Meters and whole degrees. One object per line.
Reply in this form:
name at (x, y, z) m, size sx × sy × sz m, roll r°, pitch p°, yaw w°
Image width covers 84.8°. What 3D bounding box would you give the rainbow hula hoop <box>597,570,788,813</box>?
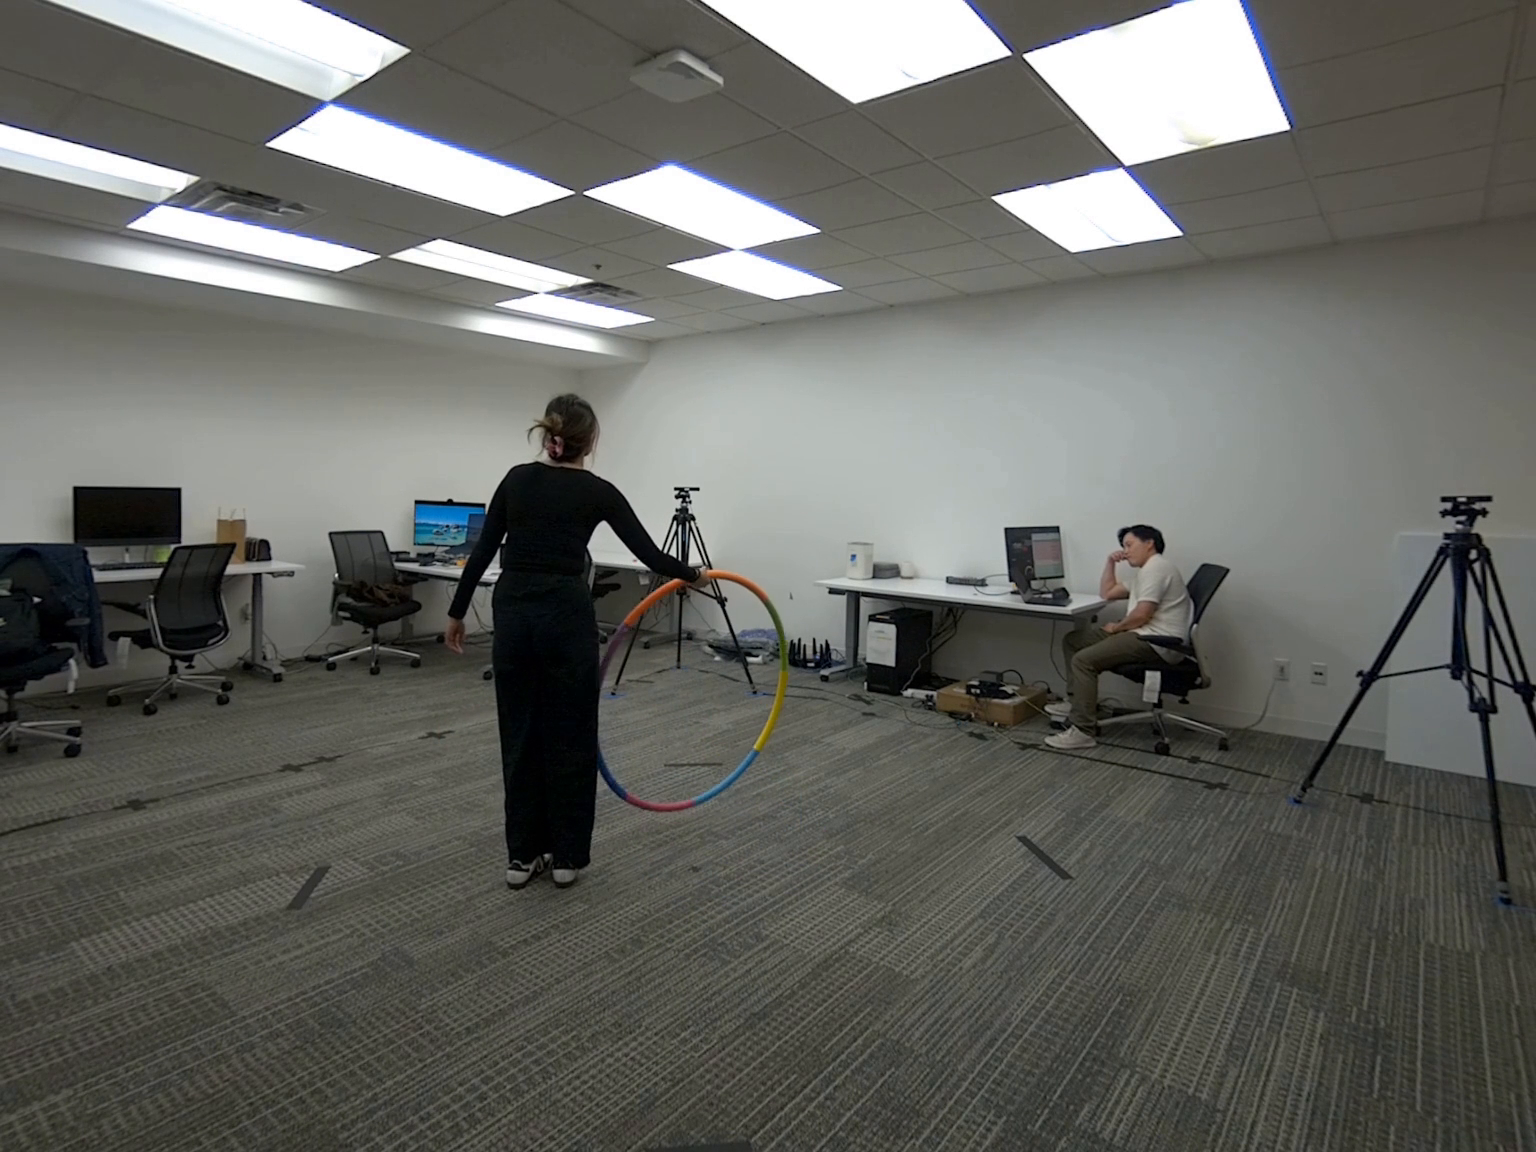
rainbow hula hoop at (-0.290, 0.454, 3.391) m, size 0.956 × 0.978 × 0.053 m, roll -2°, pitch 12°, yaw -40°
